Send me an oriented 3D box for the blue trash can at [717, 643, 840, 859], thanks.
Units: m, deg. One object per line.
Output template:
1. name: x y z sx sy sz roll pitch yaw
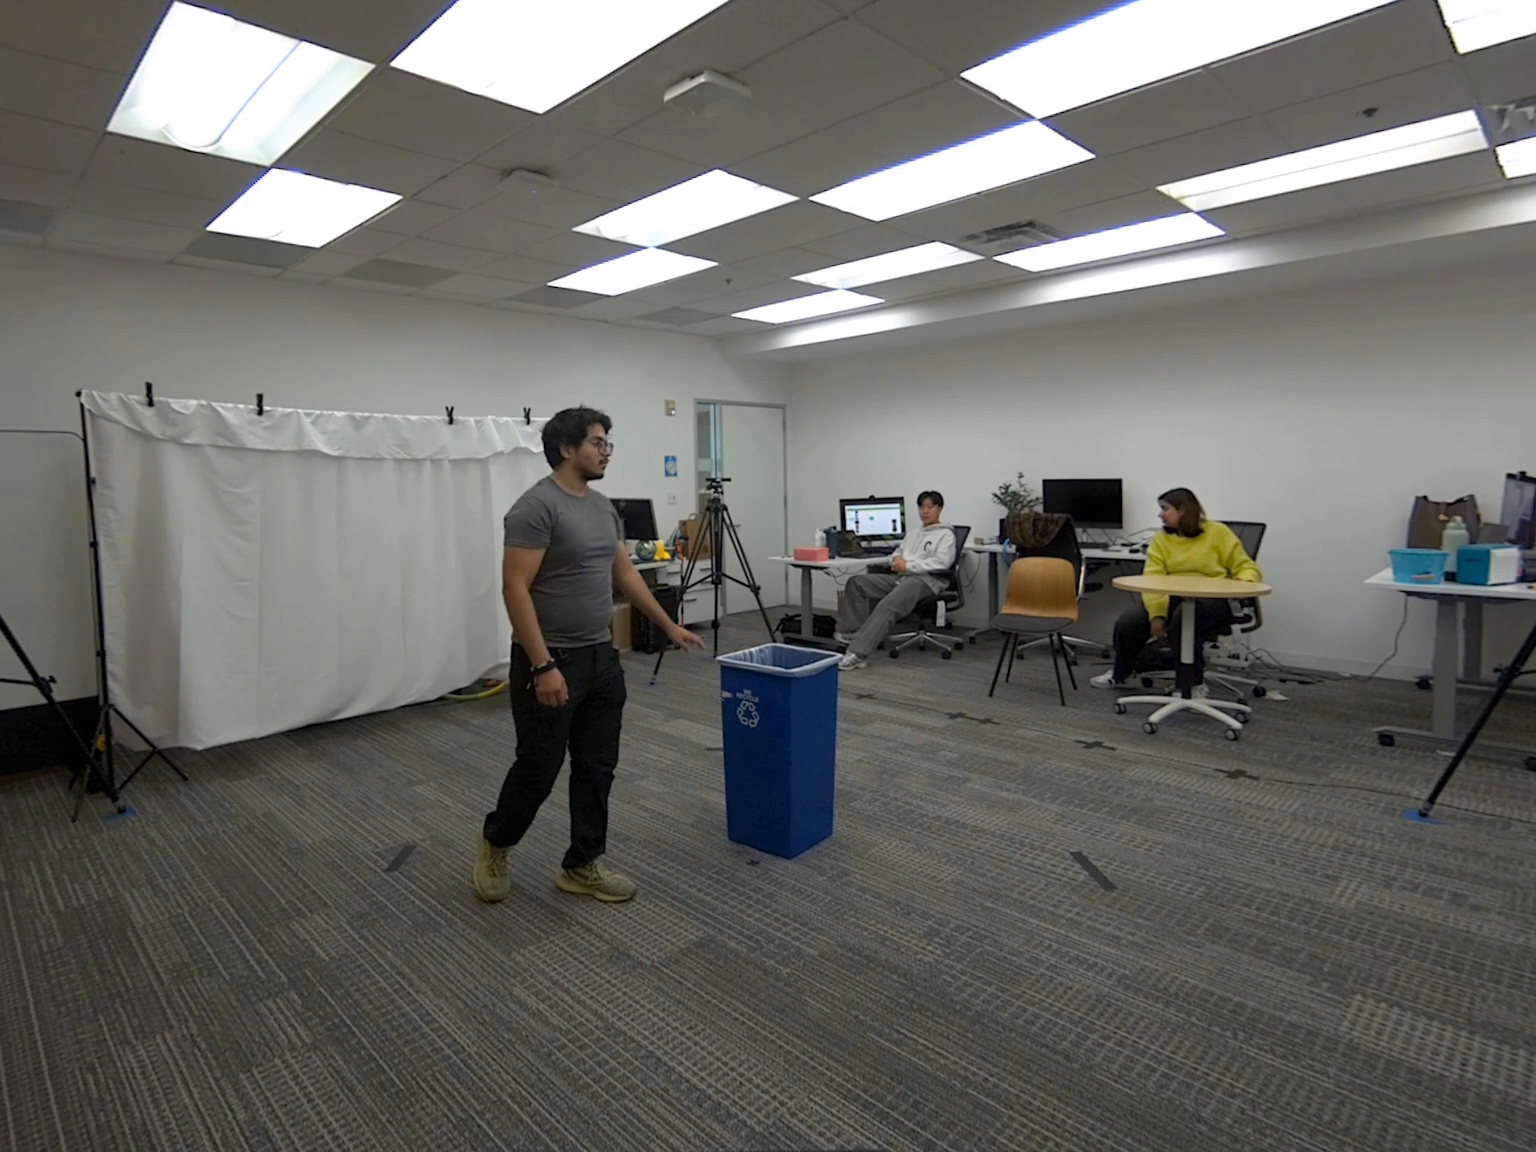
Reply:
1. blue trash can: 0.056 0.660 3.303 0.385 0.711 0.368 3 5 39
